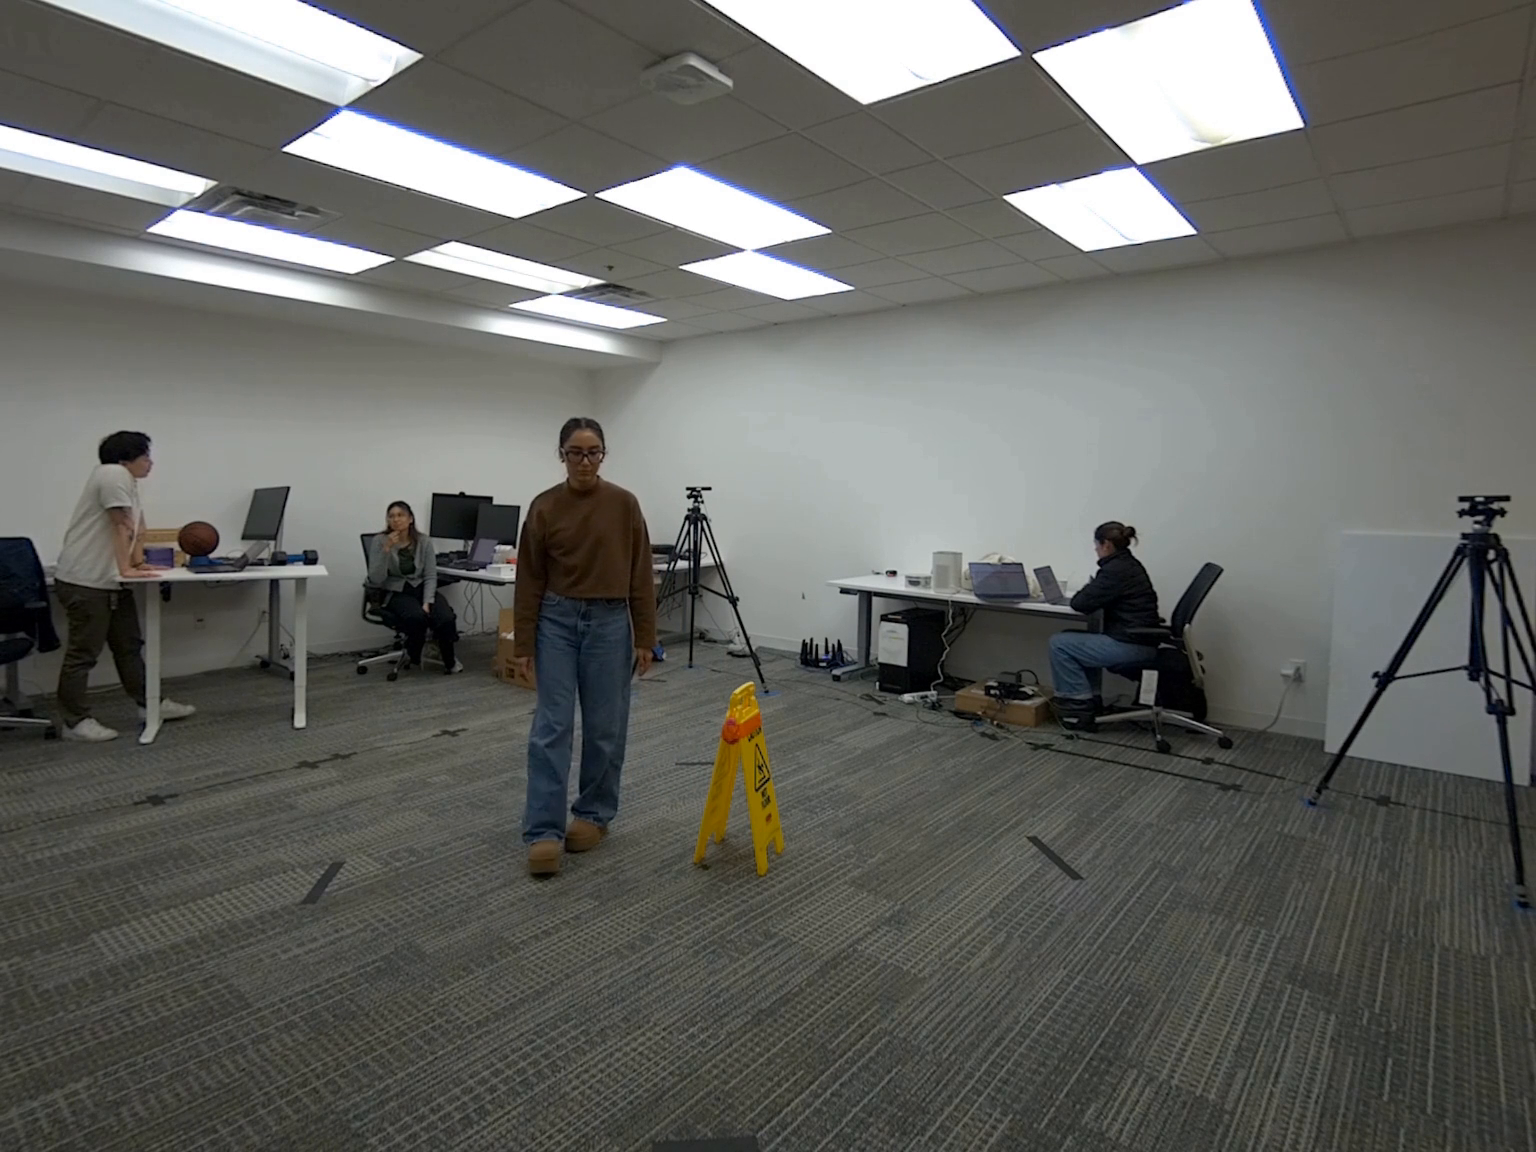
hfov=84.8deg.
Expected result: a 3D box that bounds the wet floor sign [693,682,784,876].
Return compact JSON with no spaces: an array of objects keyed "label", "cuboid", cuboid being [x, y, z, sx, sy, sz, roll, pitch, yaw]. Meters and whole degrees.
[{"label":"wet floor sign","cuboid":[-0.113,0.733,3.208,0.296,0.645,0.277,1,2,19]}]
